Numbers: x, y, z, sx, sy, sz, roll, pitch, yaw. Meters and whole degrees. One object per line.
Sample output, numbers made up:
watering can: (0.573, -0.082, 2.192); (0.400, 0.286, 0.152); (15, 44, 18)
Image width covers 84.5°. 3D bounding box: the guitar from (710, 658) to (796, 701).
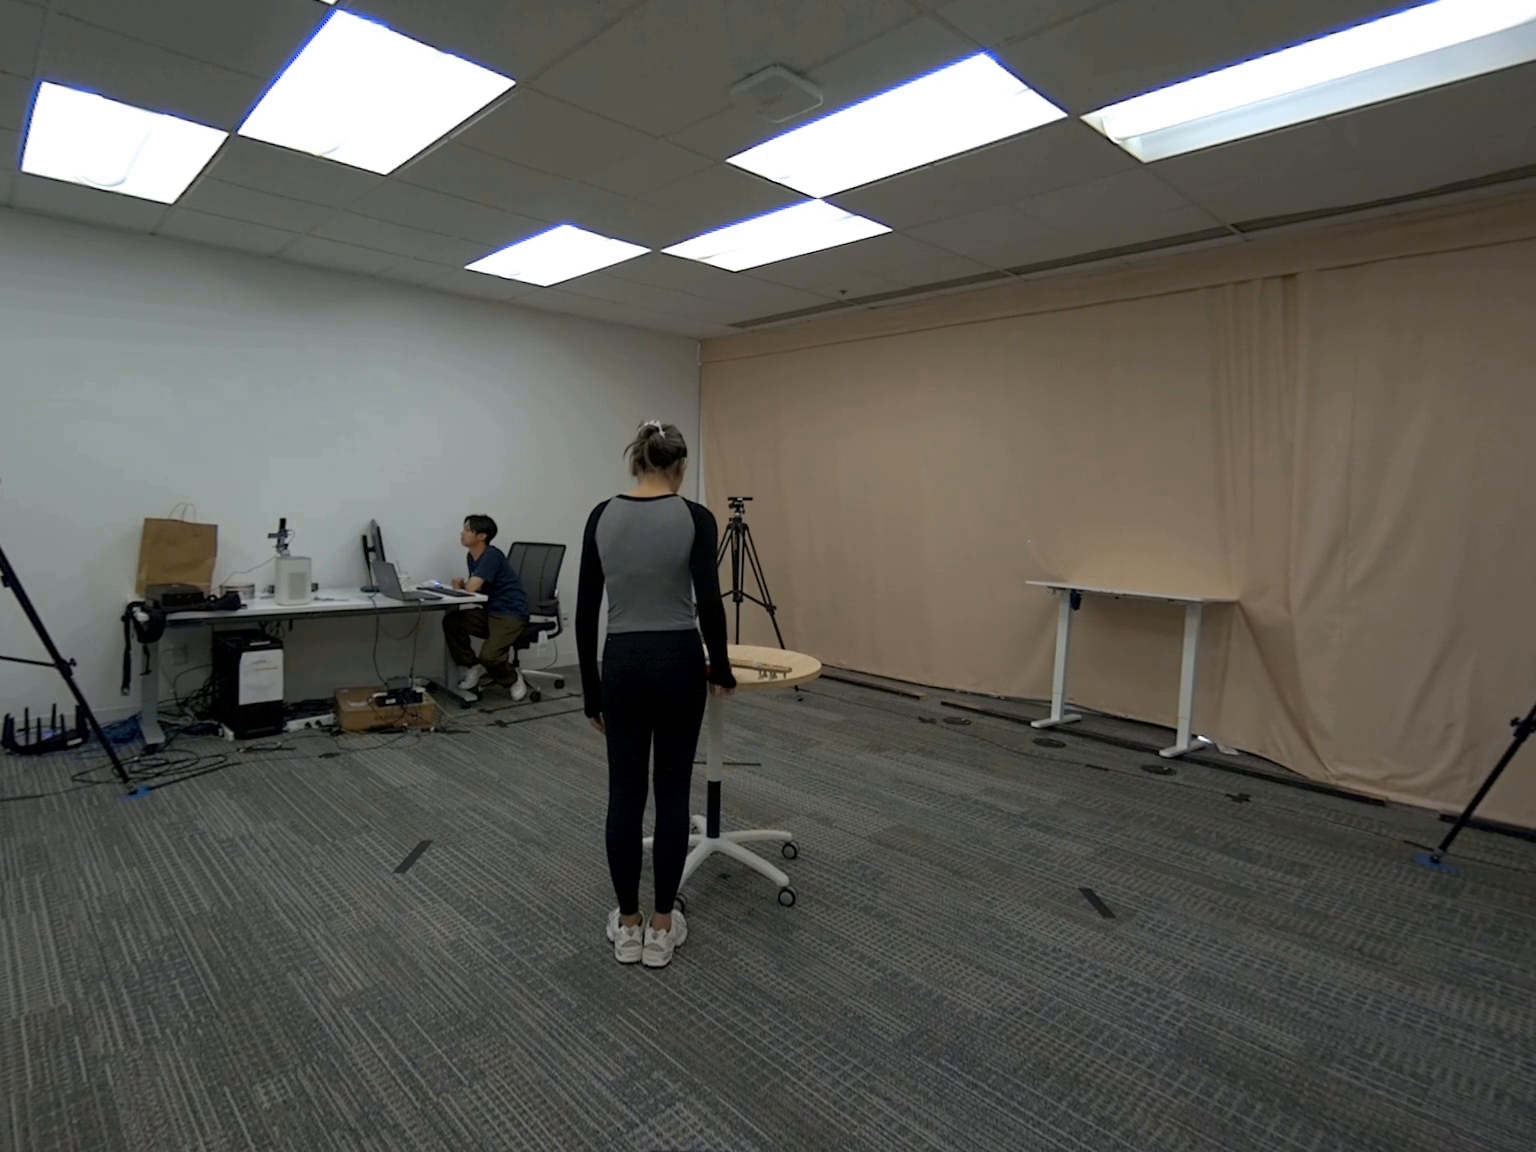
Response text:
guitar: (-0.170, 0.313, 2.735); (0.510, 0.070, 0.188); (5, 5, 41)
